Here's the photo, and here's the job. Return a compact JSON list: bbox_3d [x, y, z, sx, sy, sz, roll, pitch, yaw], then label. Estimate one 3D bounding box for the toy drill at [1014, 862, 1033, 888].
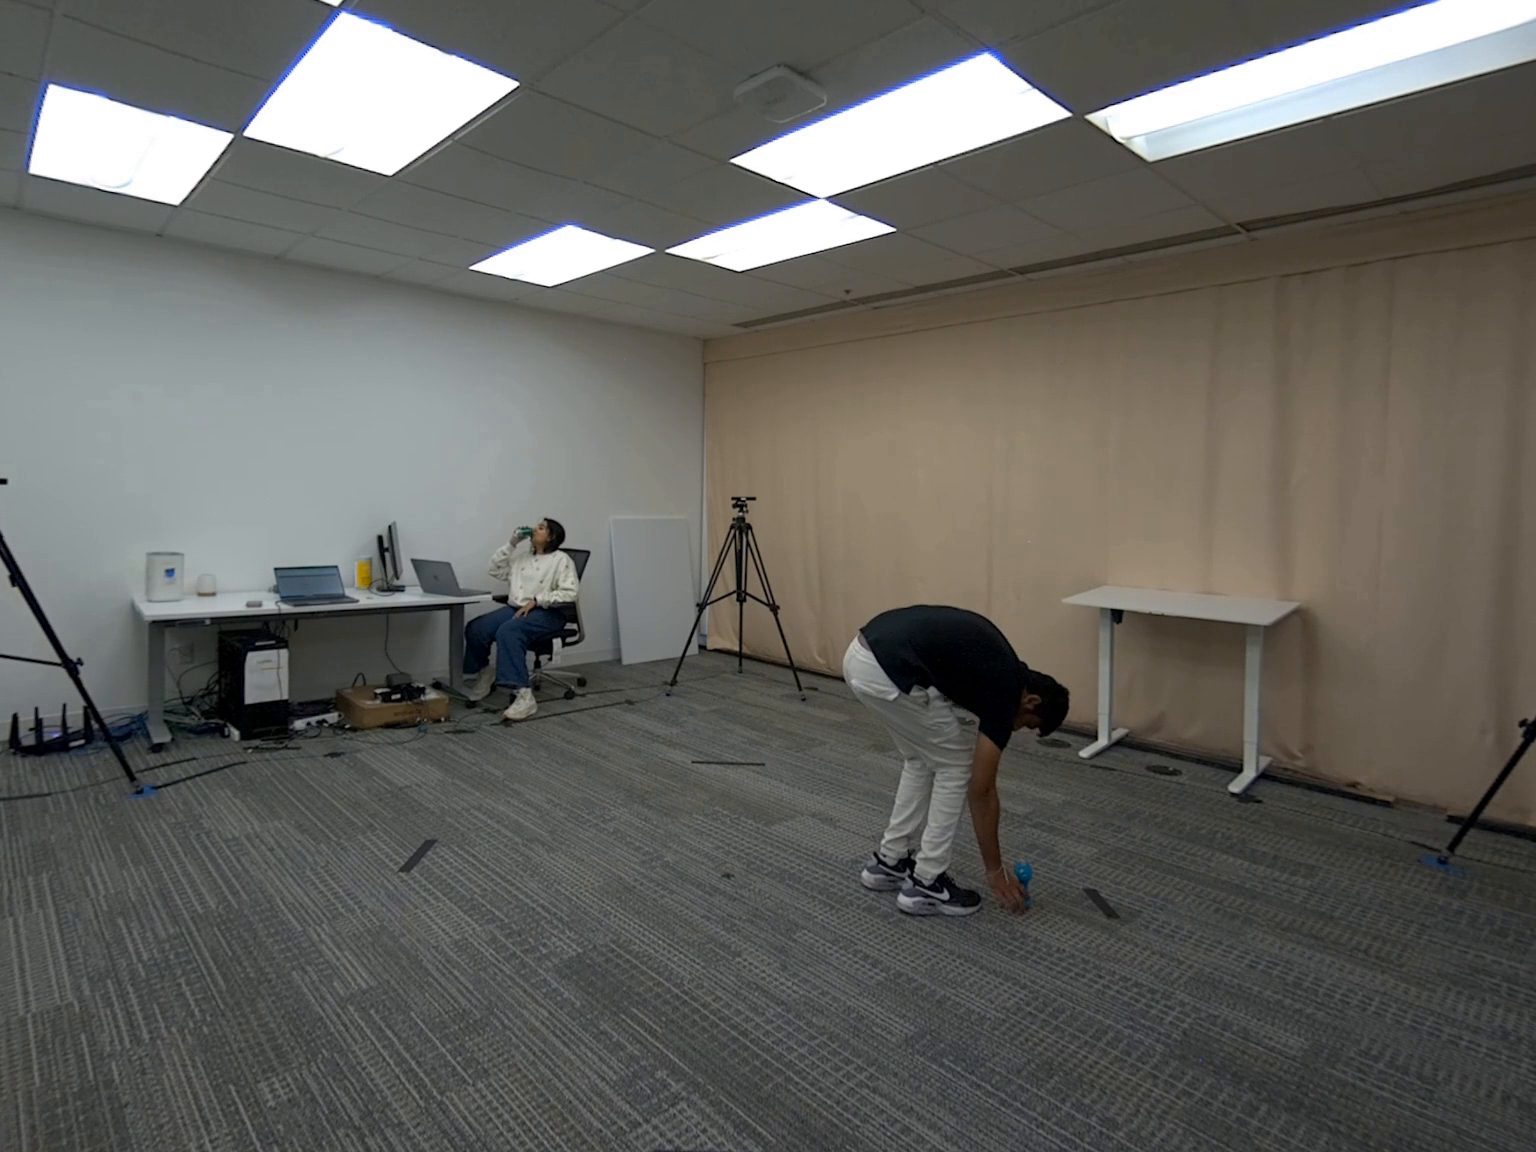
[{"bbox_3d":[0.898,1.079,2.973,0.062,0.146,0.168,-5,-1,12],"label":"toy drill"}]
